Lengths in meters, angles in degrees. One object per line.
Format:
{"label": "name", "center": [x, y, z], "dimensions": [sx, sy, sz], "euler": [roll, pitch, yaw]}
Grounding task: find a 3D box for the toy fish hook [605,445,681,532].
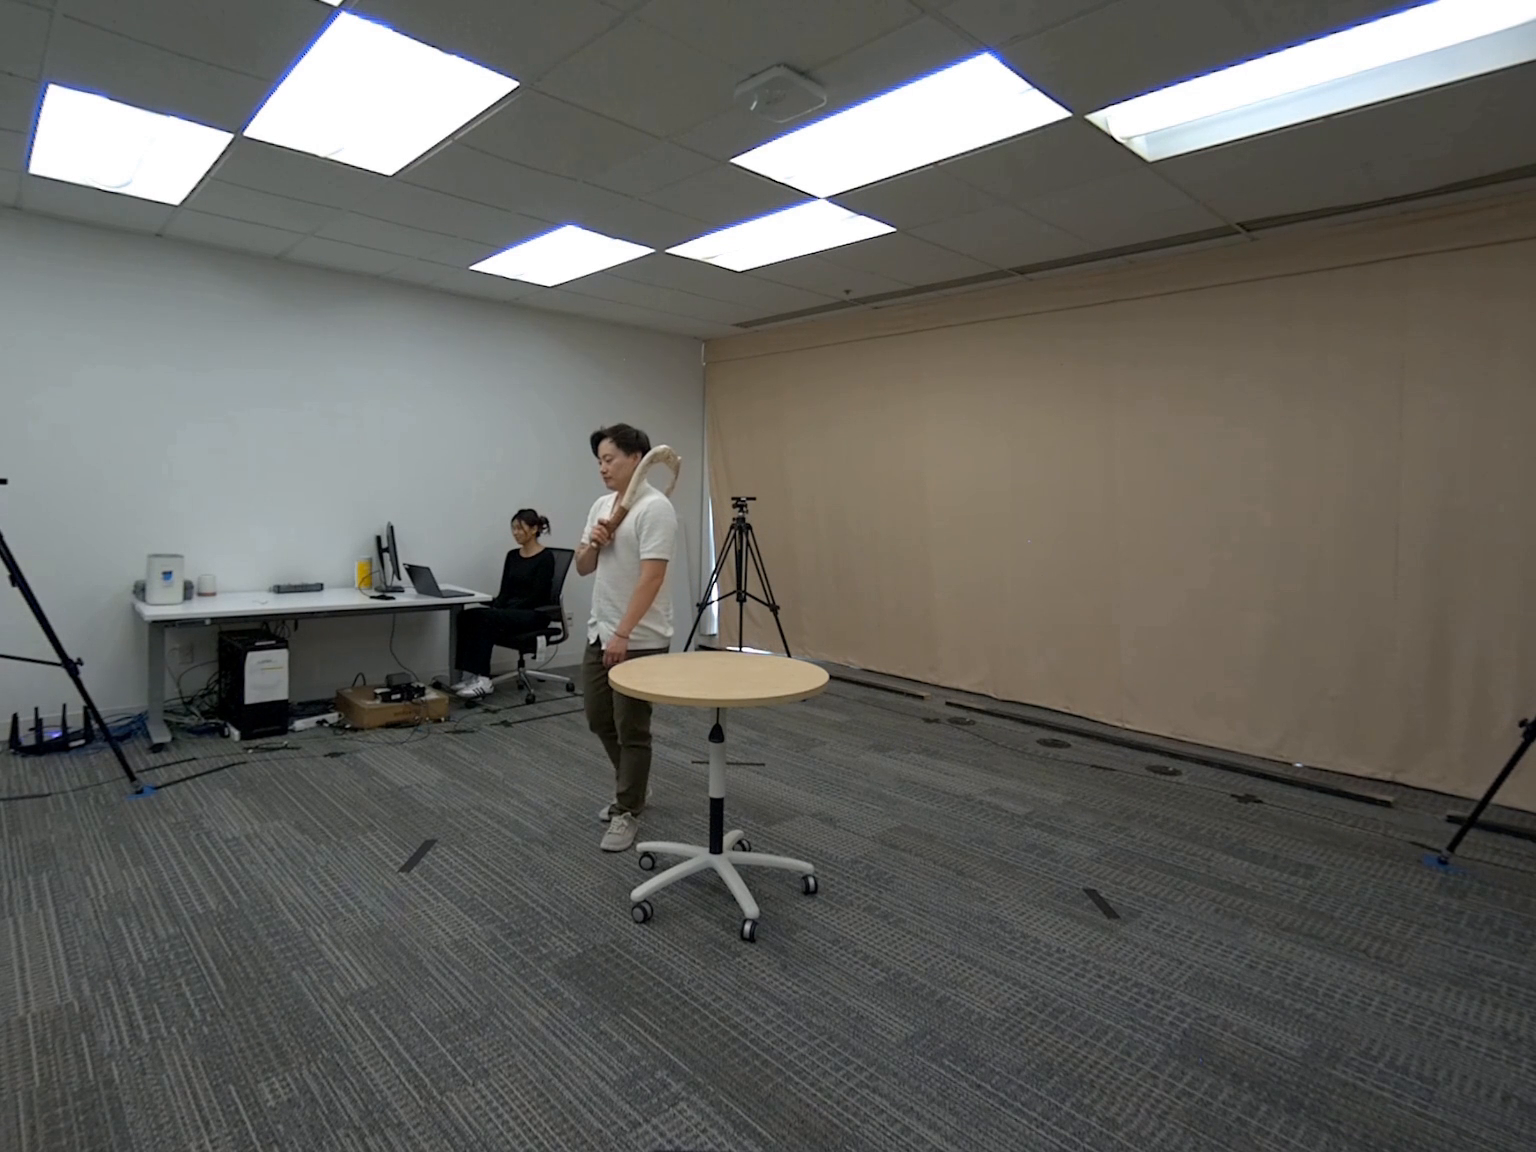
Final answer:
{"label": "toy fish hook", "center": [-0.523, -0.292, 3.367], "dimensions": [0.050, 0.507, 0.217], "euler": [26, -9, 44]}
